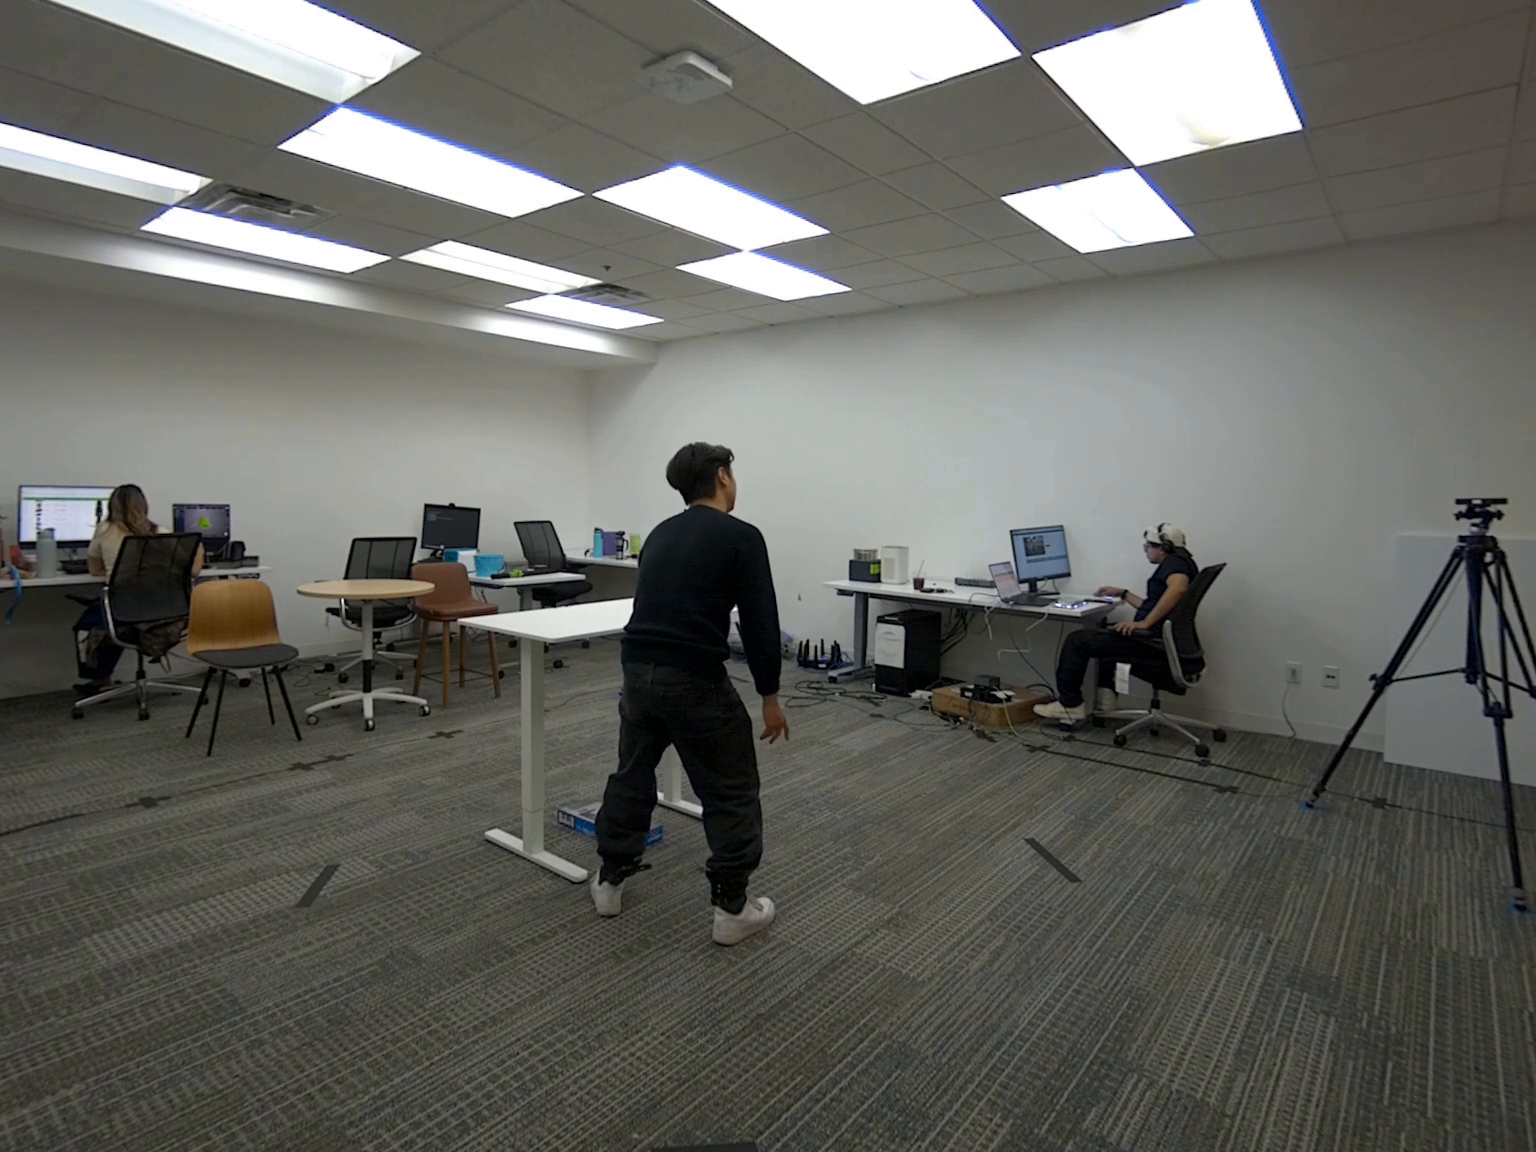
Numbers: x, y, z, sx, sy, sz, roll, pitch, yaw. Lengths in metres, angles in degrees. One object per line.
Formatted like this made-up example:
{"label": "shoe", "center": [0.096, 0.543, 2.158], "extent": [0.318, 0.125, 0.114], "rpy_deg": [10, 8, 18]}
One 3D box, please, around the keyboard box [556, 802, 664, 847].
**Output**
{"label": "keyboard box", "center": [-0.654, 1.000, 3.444], "extent": [0.451, 0.059, 0.171], "rpy_deg": [6, 7, 38]}
